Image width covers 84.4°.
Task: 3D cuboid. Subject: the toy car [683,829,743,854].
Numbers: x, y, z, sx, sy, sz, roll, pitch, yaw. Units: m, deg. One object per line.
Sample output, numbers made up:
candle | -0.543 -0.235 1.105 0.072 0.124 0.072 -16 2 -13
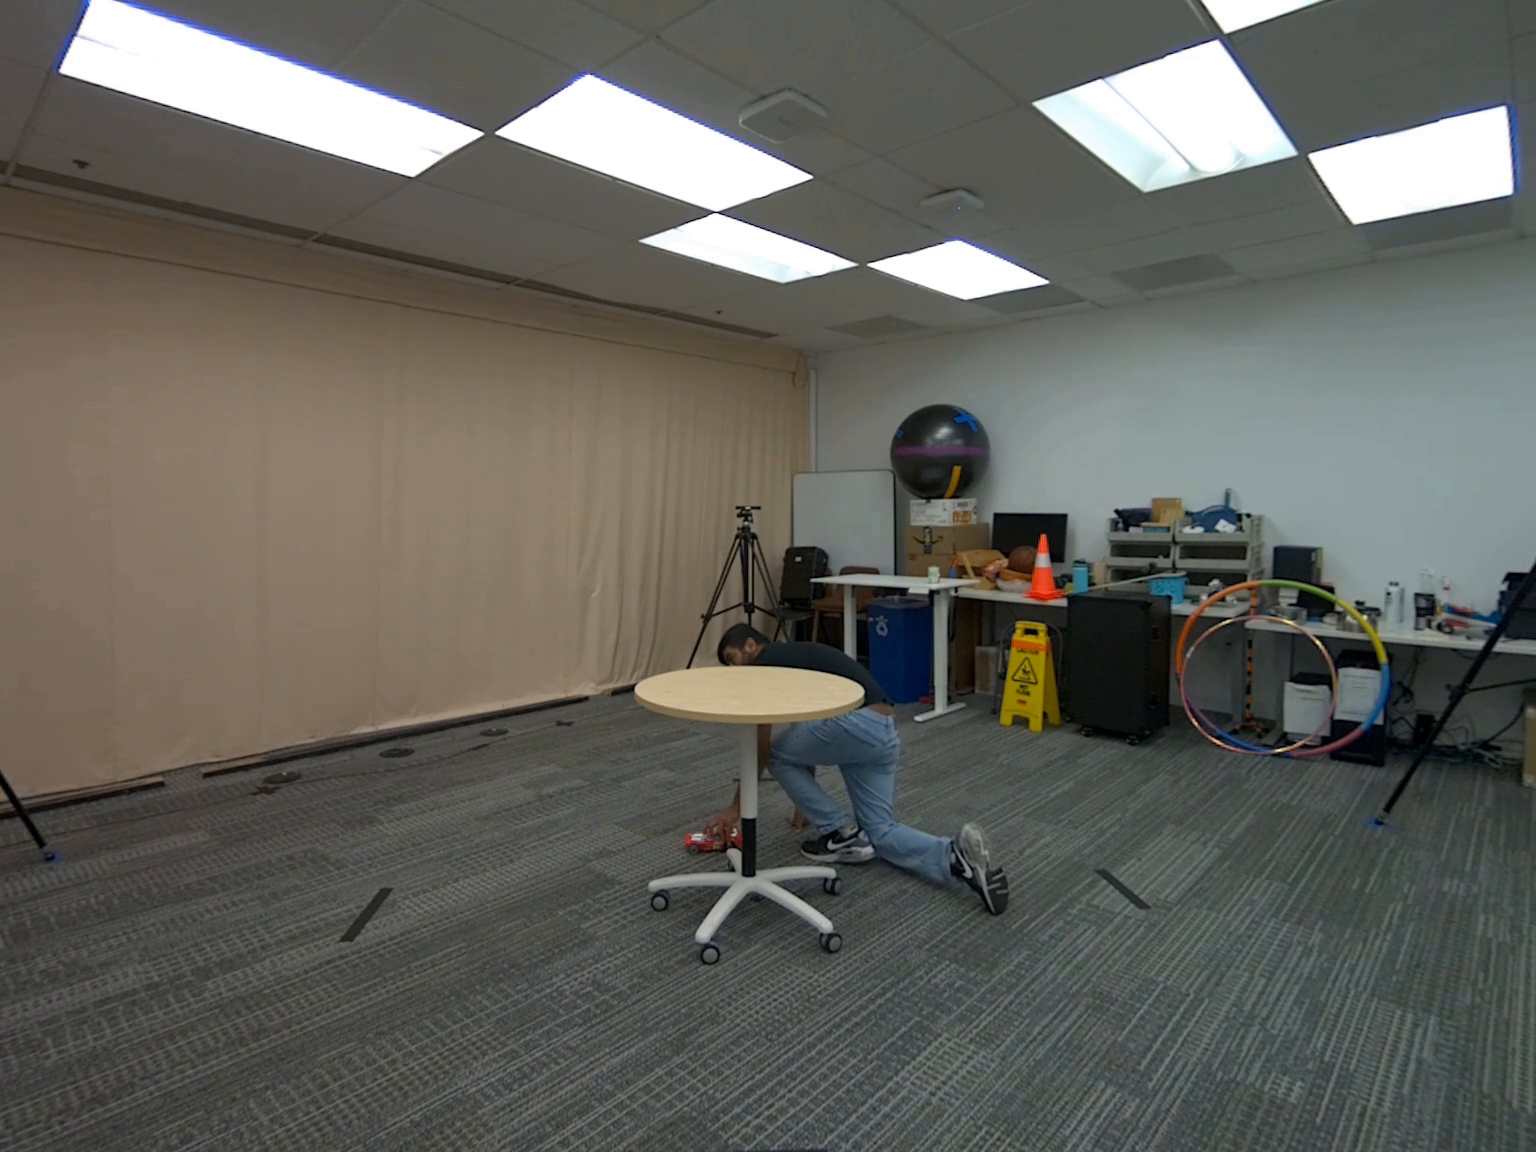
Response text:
toy car | -0.209 1.078 3.445 0.254 0.083 0.131 -12 4 -4
